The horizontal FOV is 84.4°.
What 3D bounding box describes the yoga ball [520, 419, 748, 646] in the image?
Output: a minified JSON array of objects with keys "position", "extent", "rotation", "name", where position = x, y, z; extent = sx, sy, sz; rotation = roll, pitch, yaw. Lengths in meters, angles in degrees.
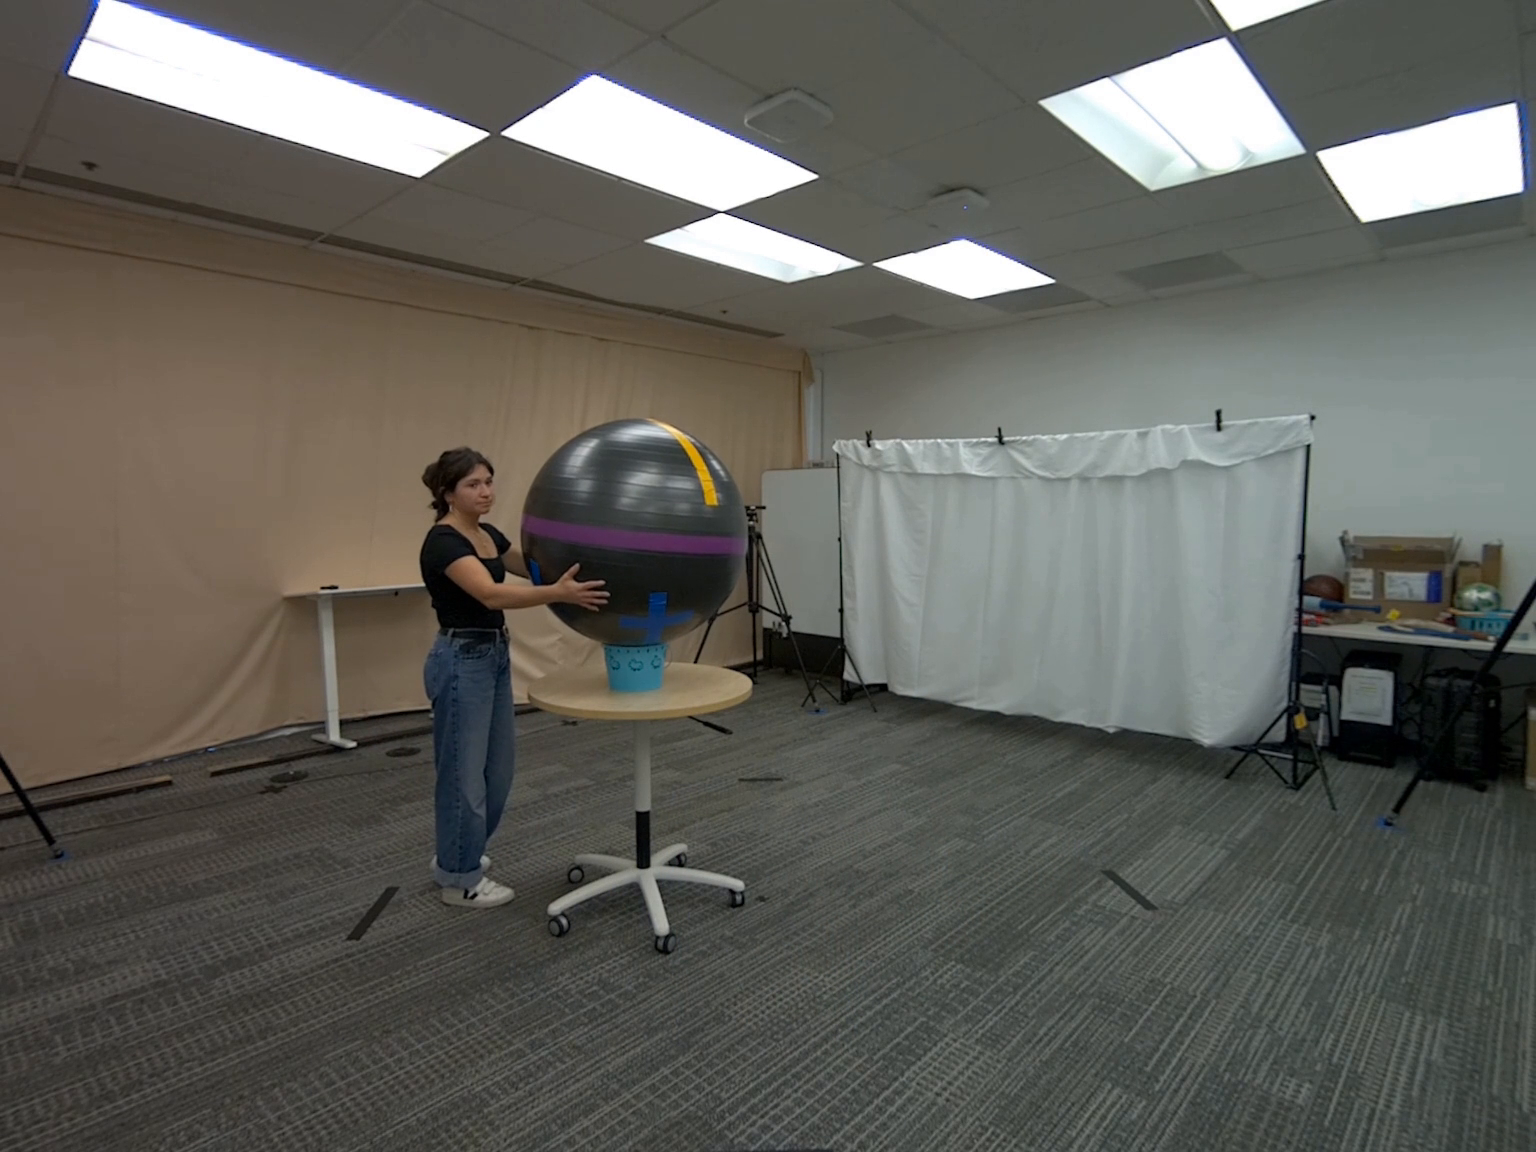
[{"position":[-0.463,-0.141,2.837],"extent":[0.757,0.756,0.760],"rotation":[0,4,-2],"name":"yoga ball"}]
